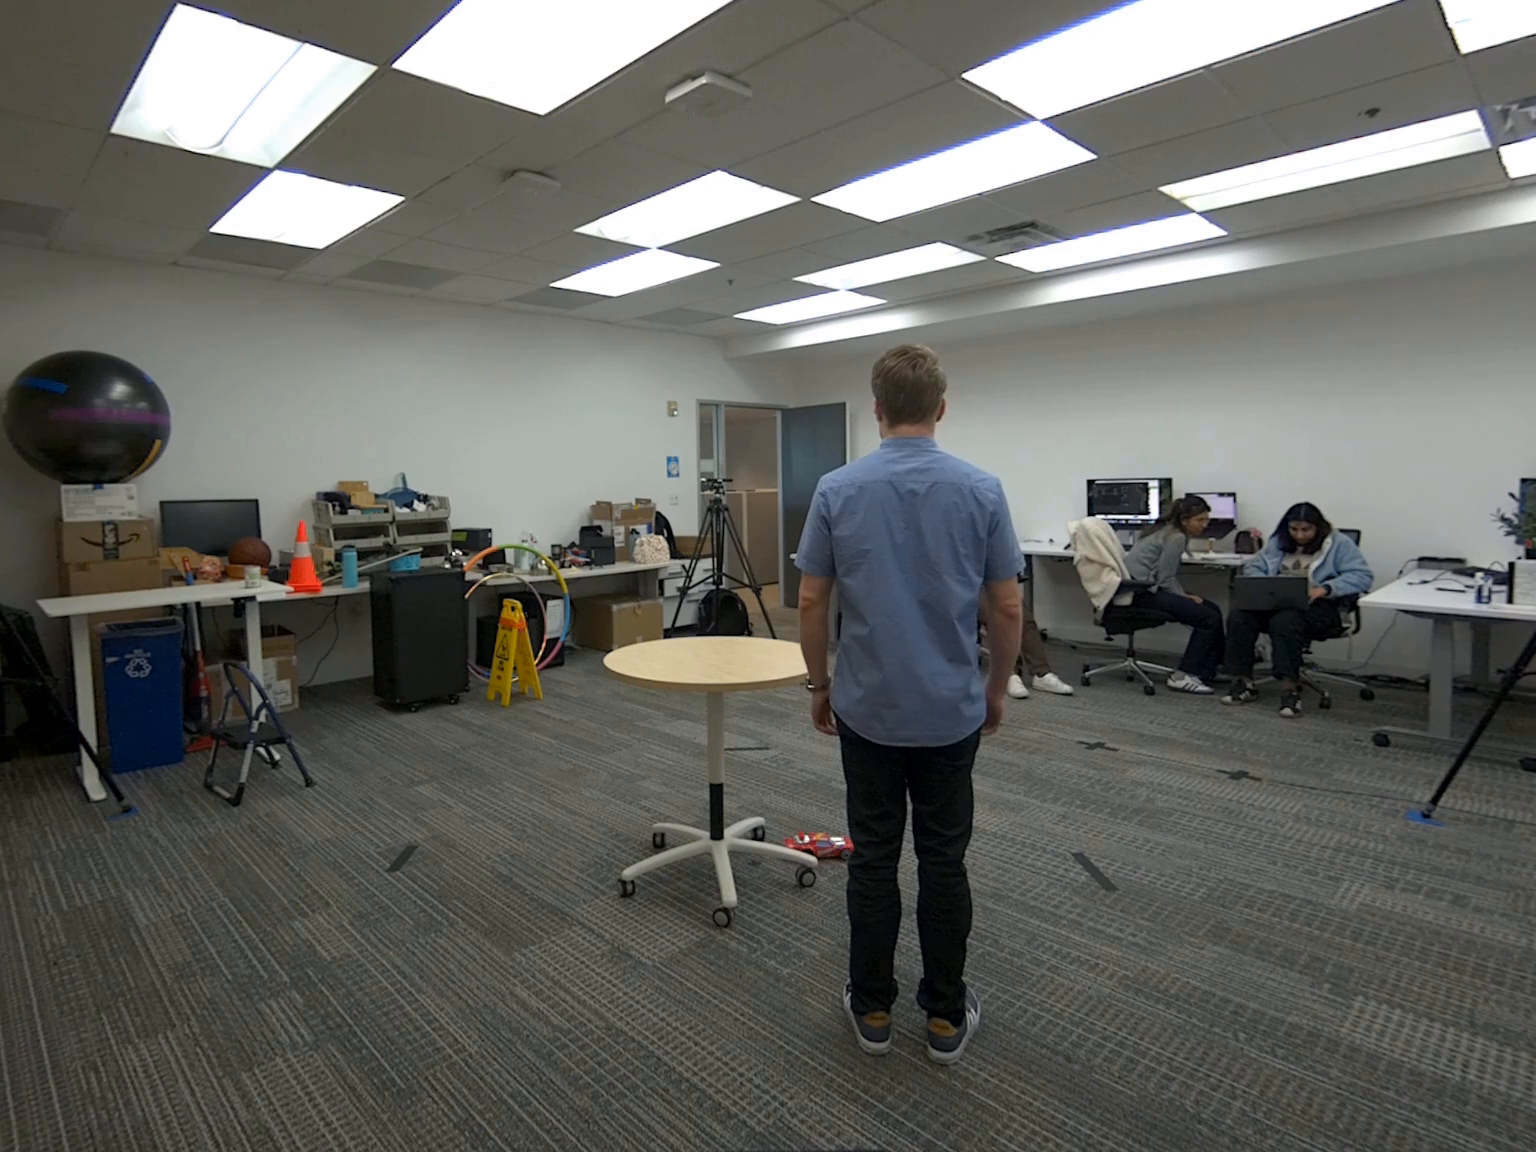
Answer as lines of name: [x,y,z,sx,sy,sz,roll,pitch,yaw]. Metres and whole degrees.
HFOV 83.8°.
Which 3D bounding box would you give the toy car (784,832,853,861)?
toy car: [0.191,1.004,3.166,0.253,0.083,0.131,9,3,-6]
